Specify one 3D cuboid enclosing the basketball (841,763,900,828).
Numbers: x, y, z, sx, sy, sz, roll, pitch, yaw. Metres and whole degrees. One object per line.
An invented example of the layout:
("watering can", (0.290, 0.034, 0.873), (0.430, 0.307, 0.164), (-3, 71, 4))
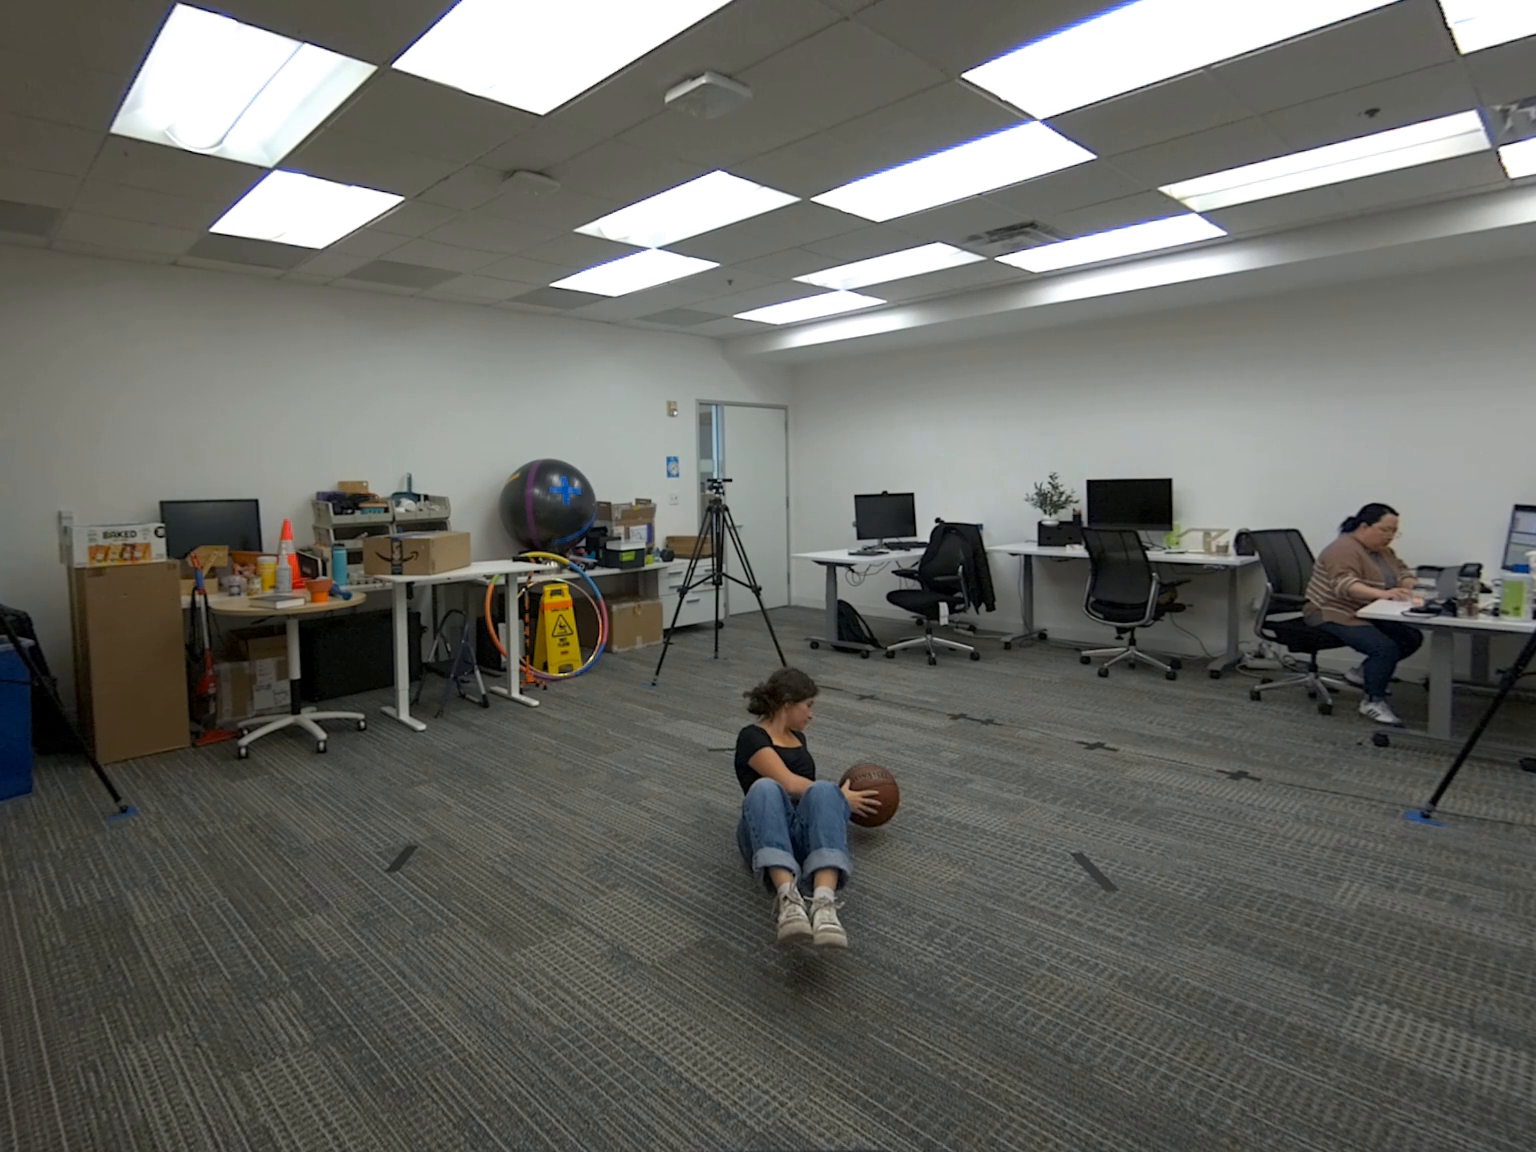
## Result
("basketball", (0.386, 0.834, 3.298), (0.236, 0.235, 0.237), (-1, 5, -2))
